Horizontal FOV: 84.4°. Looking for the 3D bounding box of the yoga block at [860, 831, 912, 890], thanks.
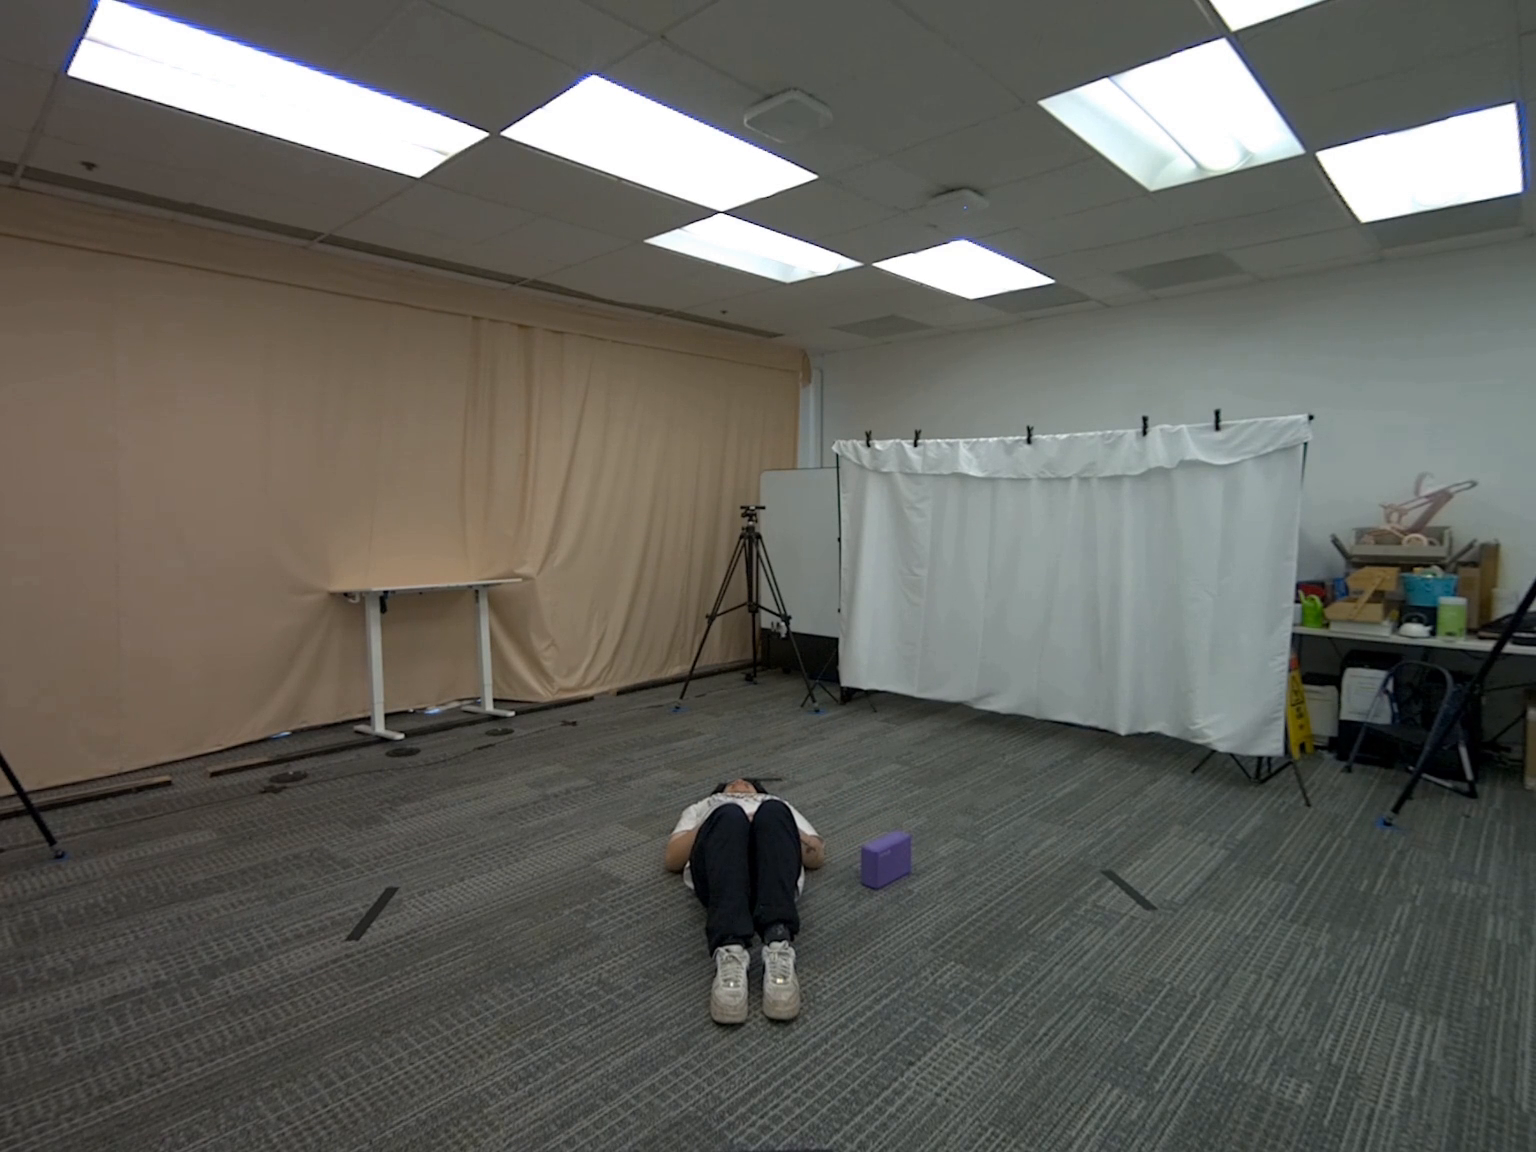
[{"bbox_3d":[0.447,1.055,3.136,0.079,0.149,0.222,3,5,44],"label":"yoga block"}]
